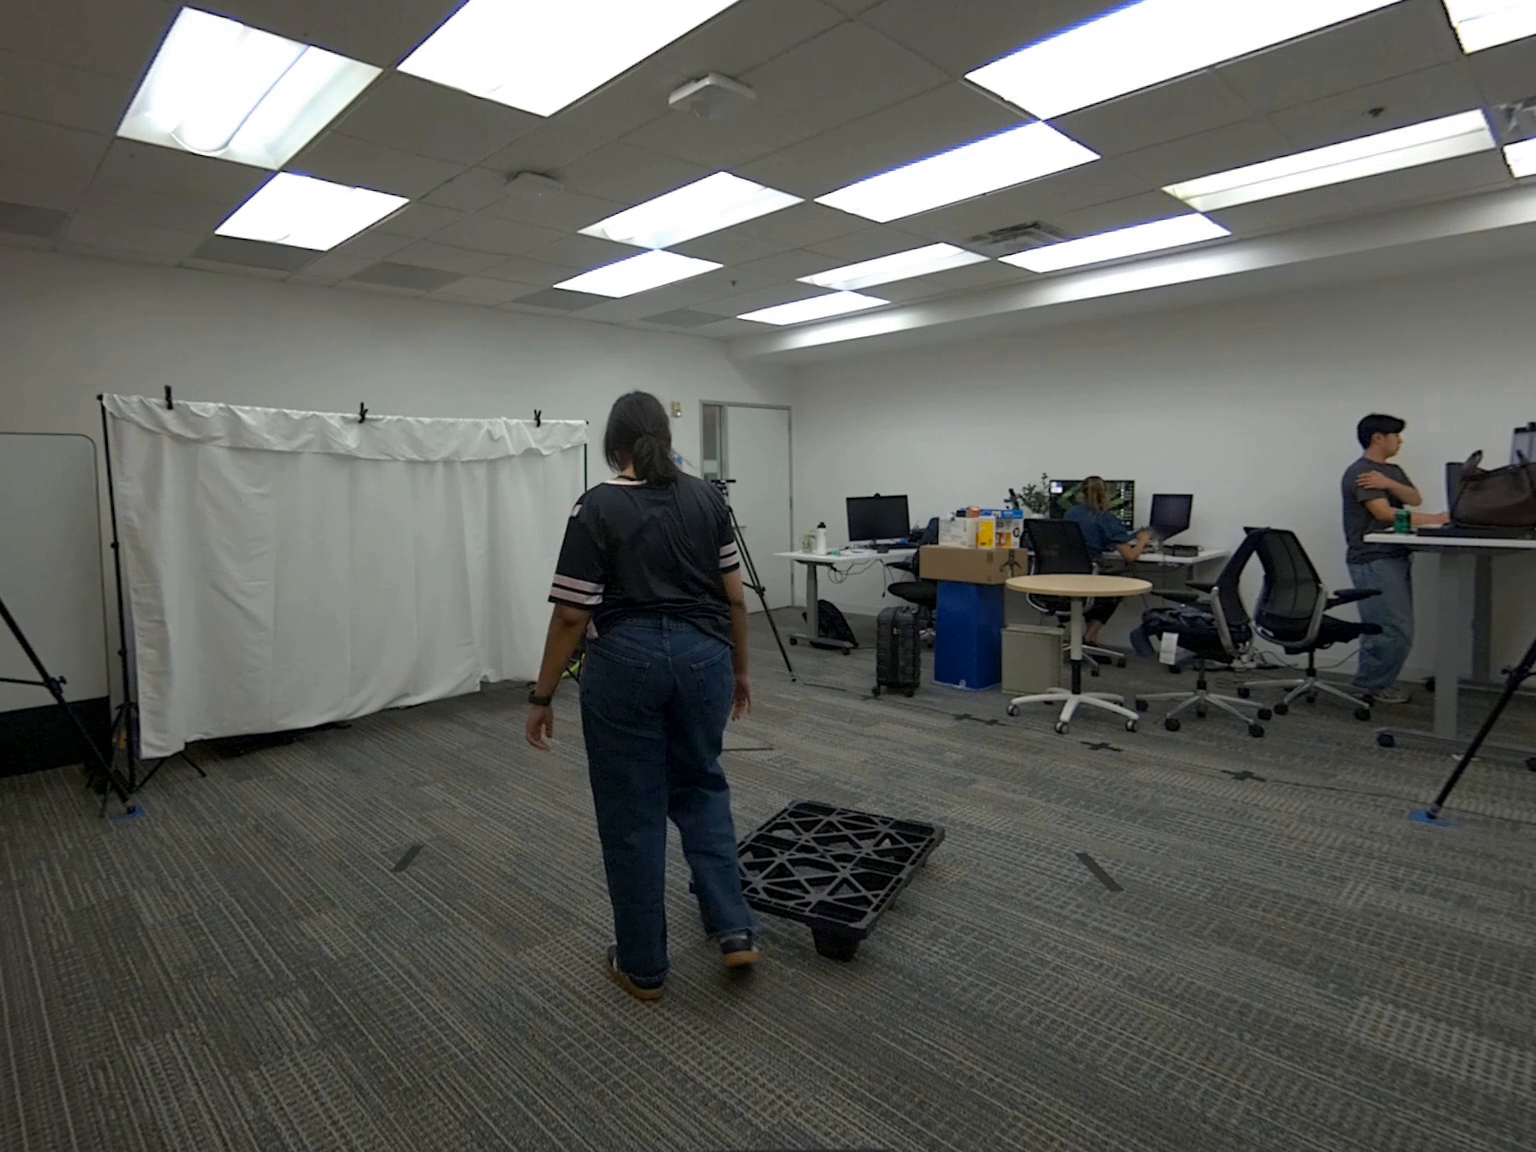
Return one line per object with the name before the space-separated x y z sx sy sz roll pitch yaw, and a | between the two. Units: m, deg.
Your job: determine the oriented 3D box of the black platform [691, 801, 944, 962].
black platform | 0.202 0.999 2.895 0.621 0.142 0.789 3 8 28
